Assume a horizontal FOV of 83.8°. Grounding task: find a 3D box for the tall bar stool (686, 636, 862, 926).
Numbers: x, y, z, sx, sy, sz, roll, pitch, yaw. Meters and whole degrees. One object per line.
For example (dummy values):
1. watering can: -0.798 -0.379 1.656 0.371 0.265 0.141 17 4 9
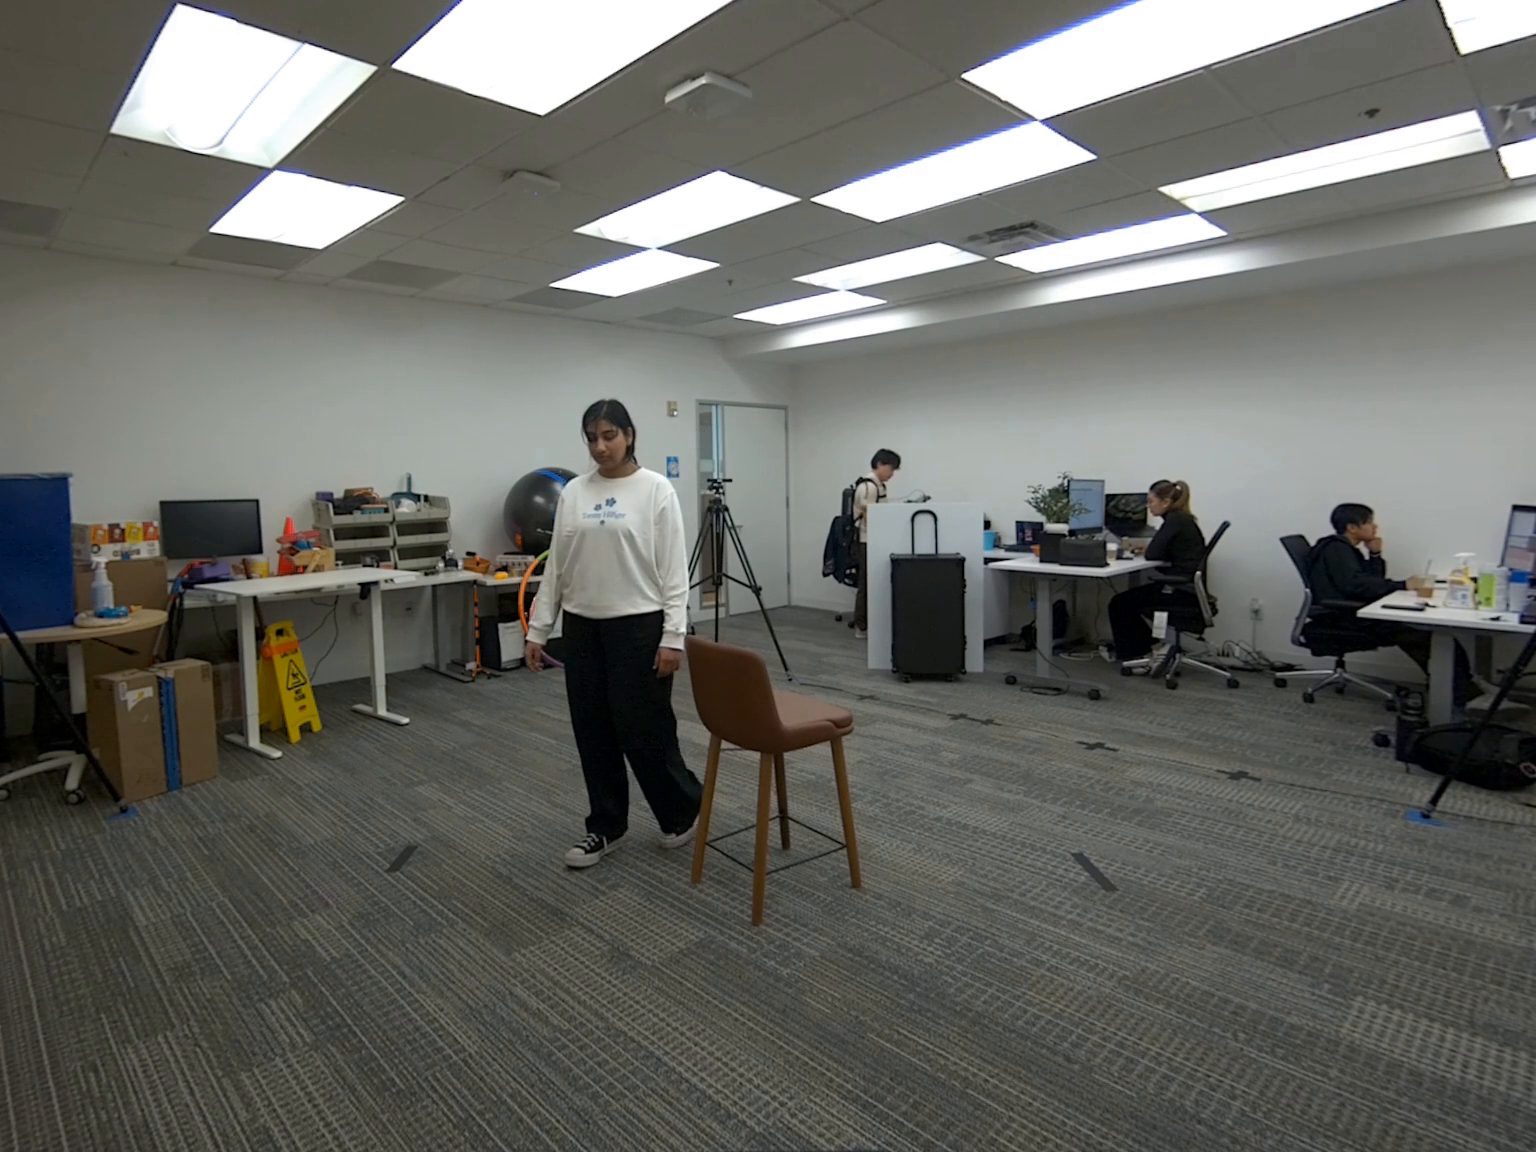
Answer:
1. tall bar stool: 0.015 0.631 2.918 0.456 0.885 0.470 -6 6 -36
